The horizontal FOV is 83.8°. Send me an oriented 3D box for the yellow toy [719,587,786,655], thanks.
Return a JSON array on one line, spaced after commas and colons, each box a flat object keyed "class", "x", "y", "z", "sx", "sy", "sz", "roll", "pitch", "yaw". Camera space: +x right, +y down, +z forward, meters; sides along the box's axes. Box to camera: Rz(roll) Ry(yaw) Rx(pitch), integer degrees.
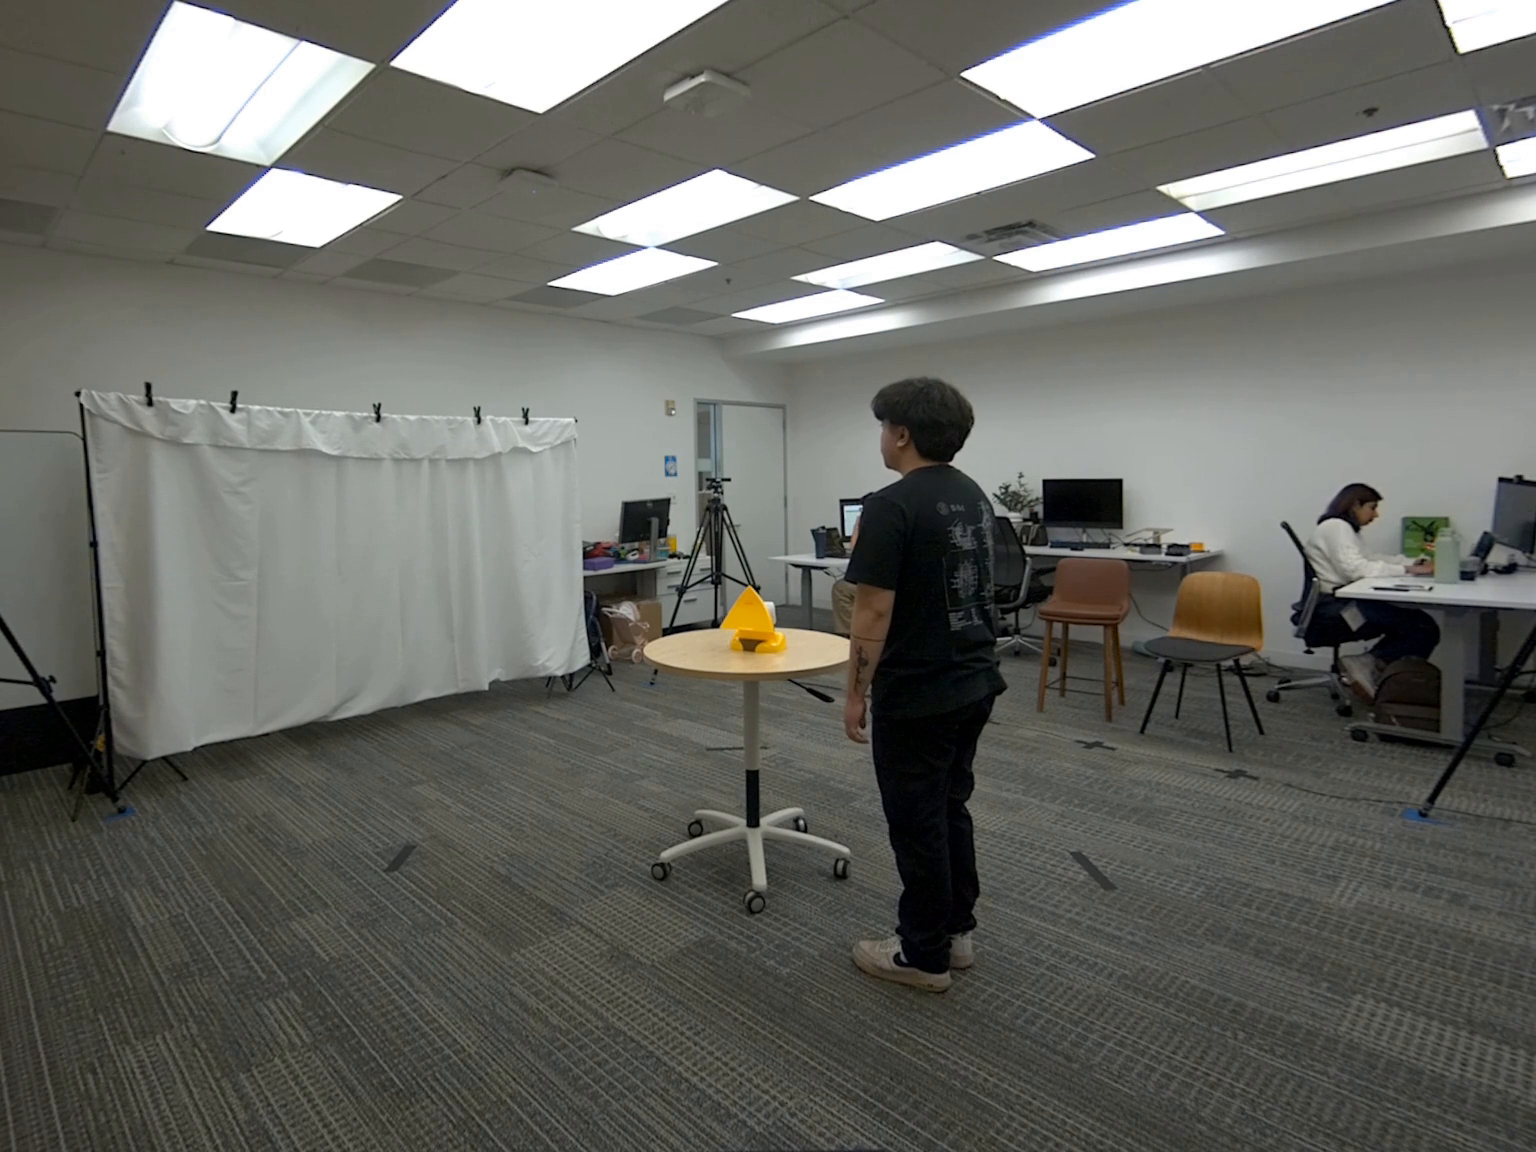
[{"class": "yellow toy", "x": -0.036, "y": 0.144, "z": 3.032, "sx": 0.210, "sy": 0.230, "sz": 0.189, "roll": 2, "pitch": 5, "yaw": 26}]
